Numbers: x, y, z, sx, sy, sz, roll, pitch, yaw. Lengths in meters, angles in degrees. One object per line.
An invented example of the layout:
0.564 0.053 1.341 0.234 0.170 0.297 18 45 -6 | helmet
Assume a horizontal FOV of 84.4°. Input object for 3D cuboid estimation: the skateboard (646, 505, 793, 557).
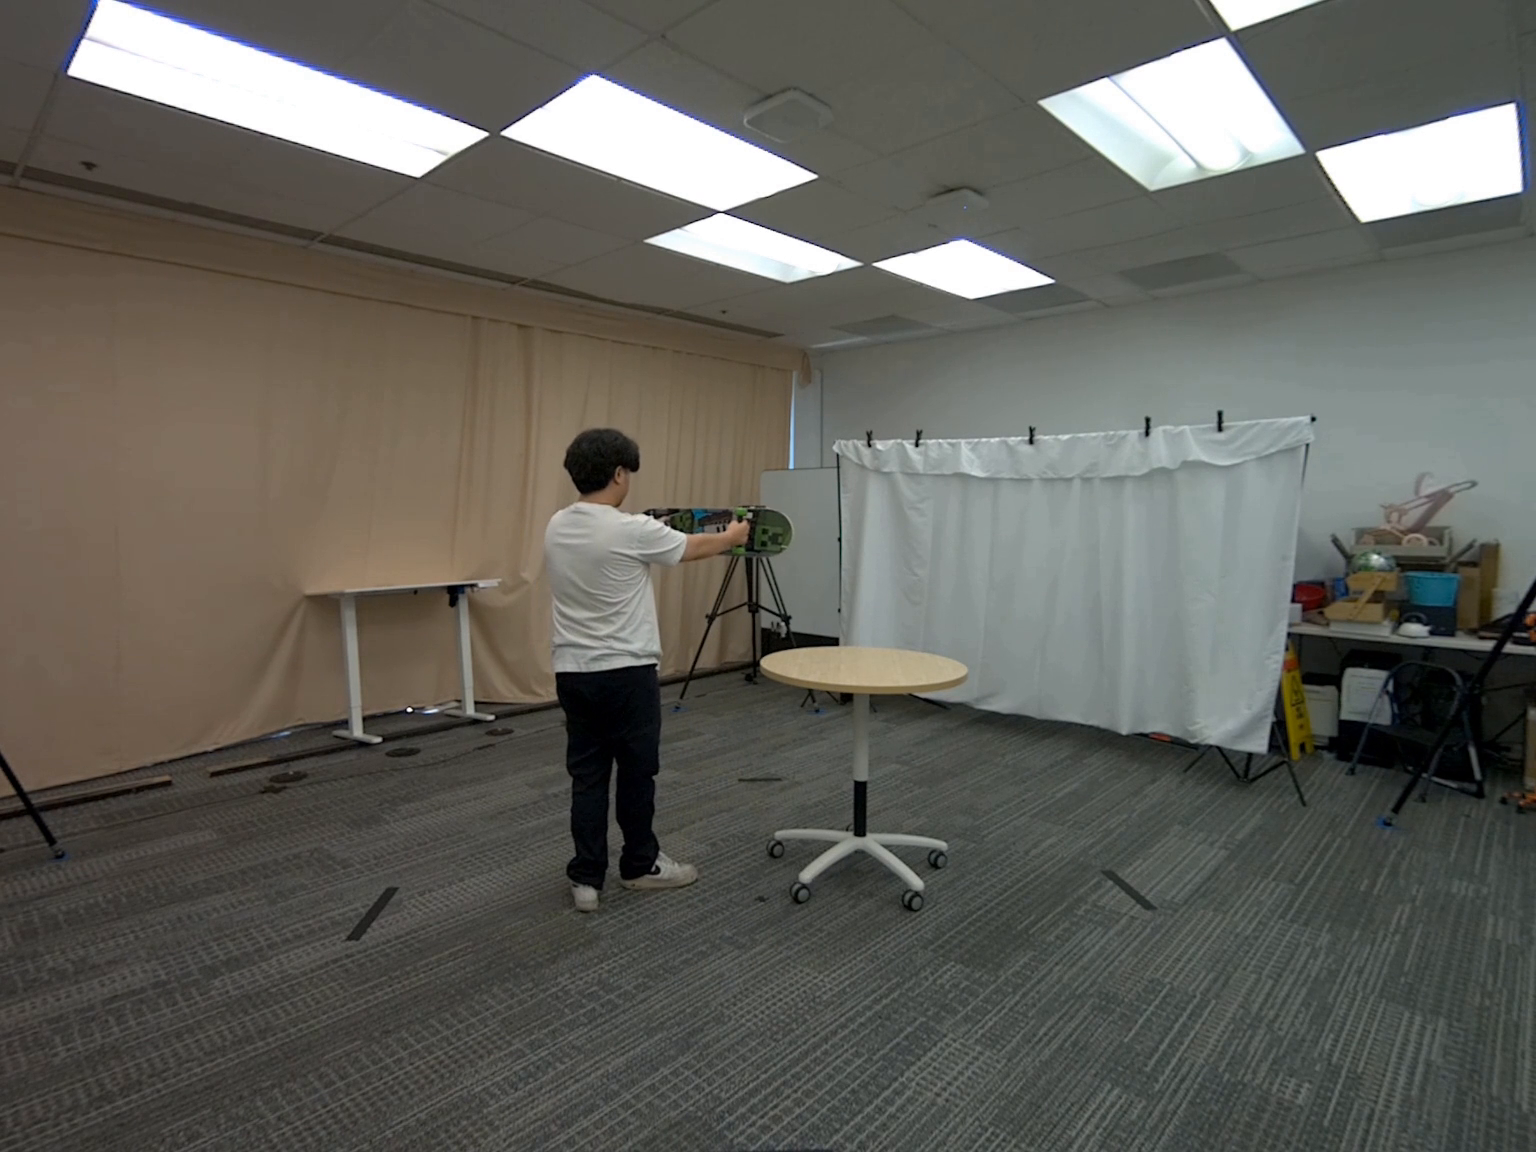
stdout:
-0.265 -0.180 3.458 0.809 0.193 0.107 2 1 34 | skateboard
